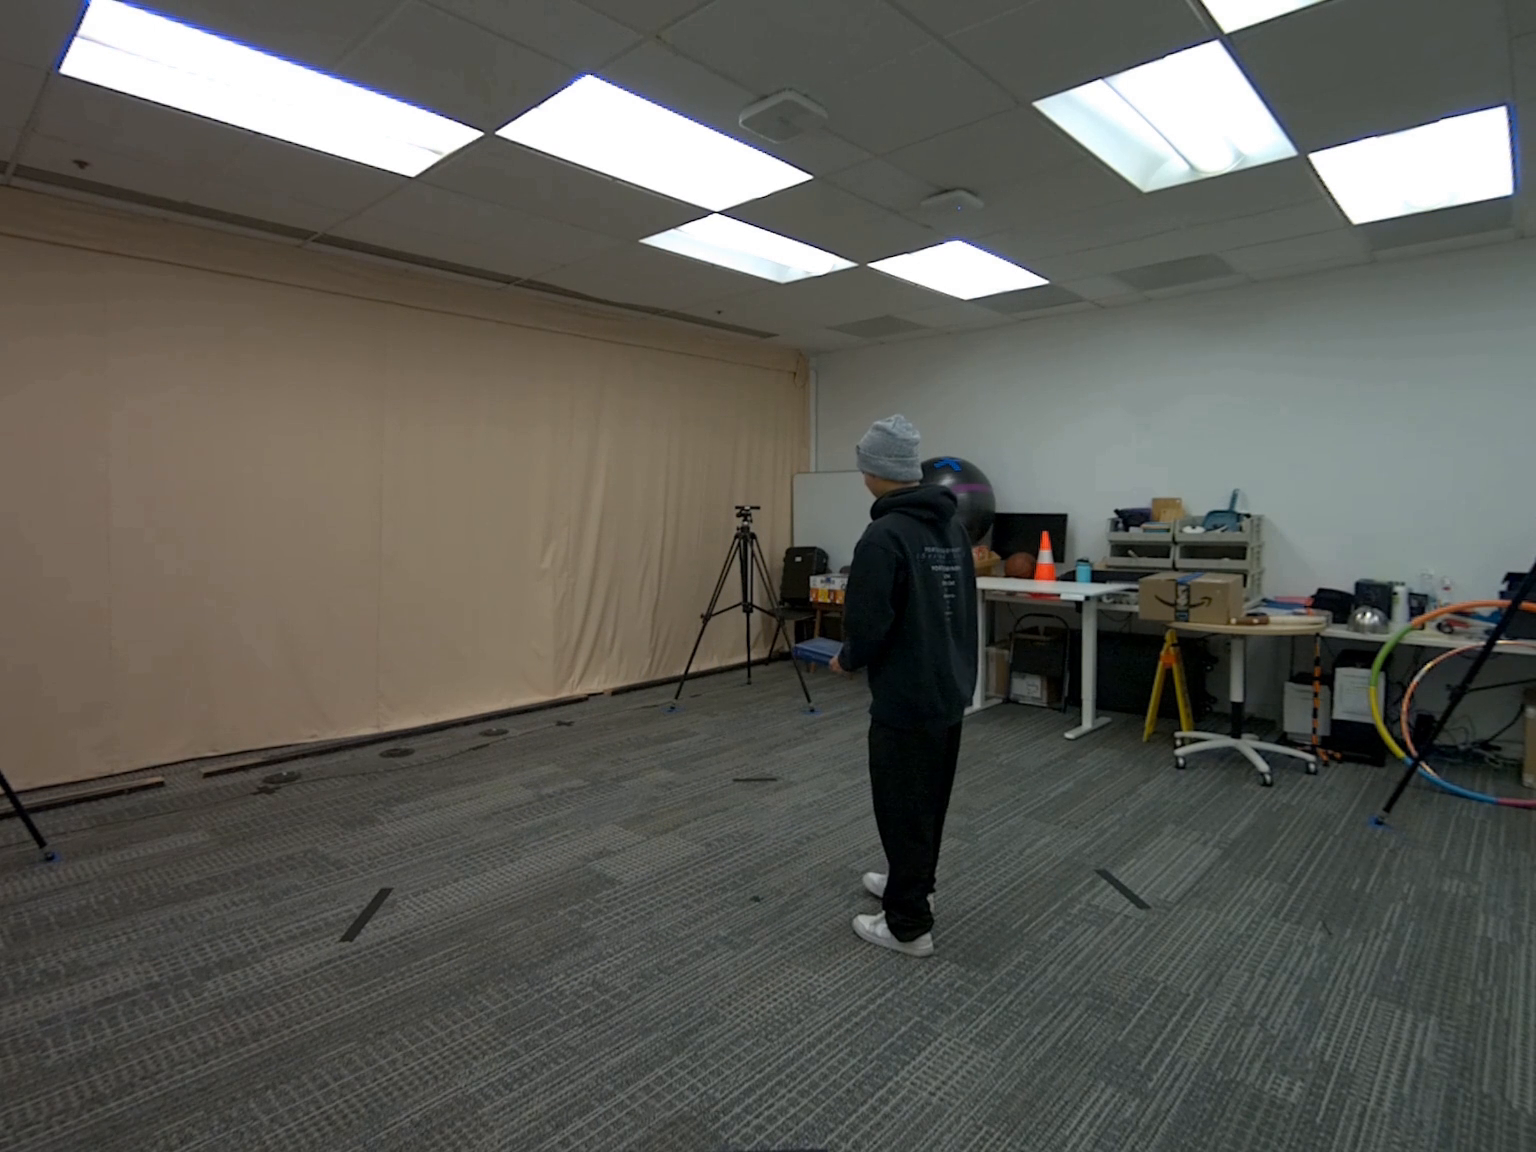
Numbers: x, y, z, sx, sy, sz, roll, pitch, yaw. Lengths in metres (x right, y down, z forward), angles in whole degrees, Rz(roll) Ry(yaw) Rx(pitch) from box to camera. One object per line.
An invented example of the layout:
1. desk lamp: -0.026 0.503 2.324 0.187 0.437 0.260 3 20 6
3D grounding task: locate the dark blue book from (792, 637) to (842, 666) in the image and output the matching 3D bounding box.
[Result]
1. dark blue book: 0.245 0.273 2.906 0.253 0.045 0.159 11 12 35
